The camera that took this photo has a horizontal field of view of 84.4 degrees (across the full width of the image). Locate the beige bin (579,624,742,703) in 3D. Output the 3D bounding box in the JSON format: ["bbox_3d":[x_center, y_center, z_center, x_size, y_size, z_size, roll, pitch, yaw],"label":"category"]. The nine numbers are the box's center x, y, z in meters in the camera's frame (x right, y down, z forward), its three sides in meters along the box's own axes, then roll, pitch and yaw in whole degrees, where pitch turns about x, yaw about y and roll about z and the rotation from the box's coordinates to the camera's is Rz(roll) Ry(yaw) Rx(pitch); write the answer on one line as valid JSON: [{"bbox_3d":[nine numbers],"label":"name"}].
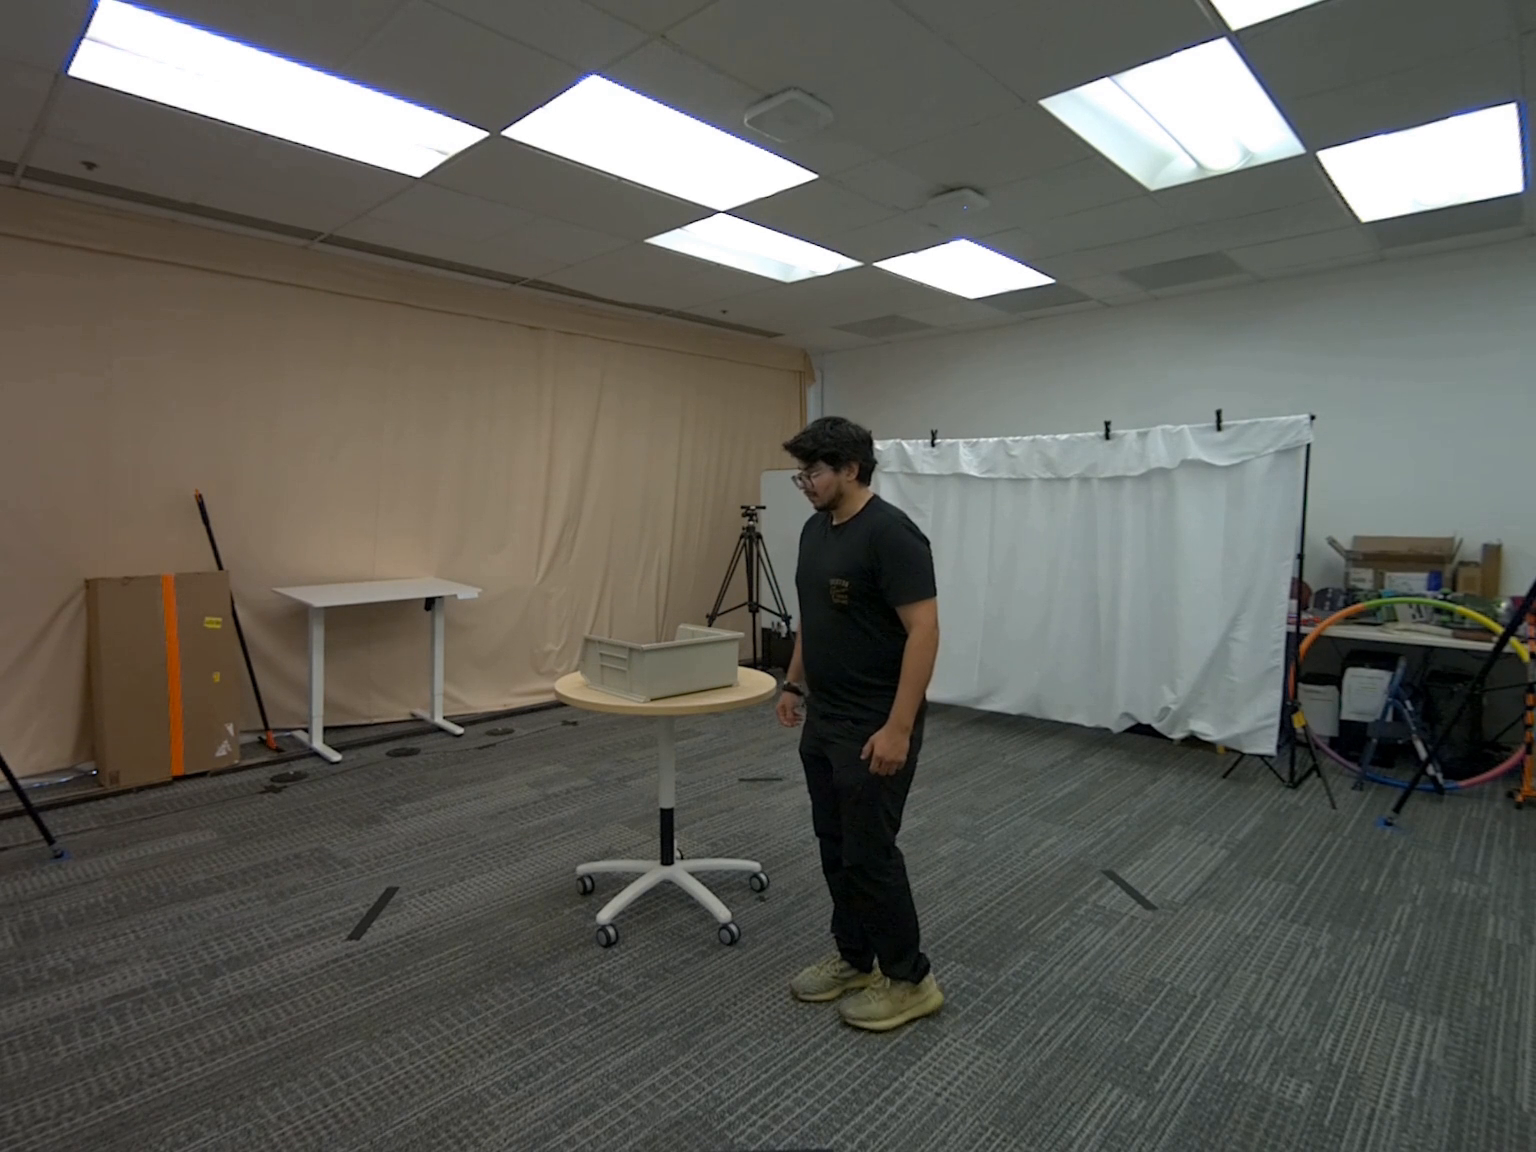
[{"bbox_3d":[-0.366,0.286,2.849,0.409,0.188,0.390,-2,6,-41],"label":"beige bin"}]
